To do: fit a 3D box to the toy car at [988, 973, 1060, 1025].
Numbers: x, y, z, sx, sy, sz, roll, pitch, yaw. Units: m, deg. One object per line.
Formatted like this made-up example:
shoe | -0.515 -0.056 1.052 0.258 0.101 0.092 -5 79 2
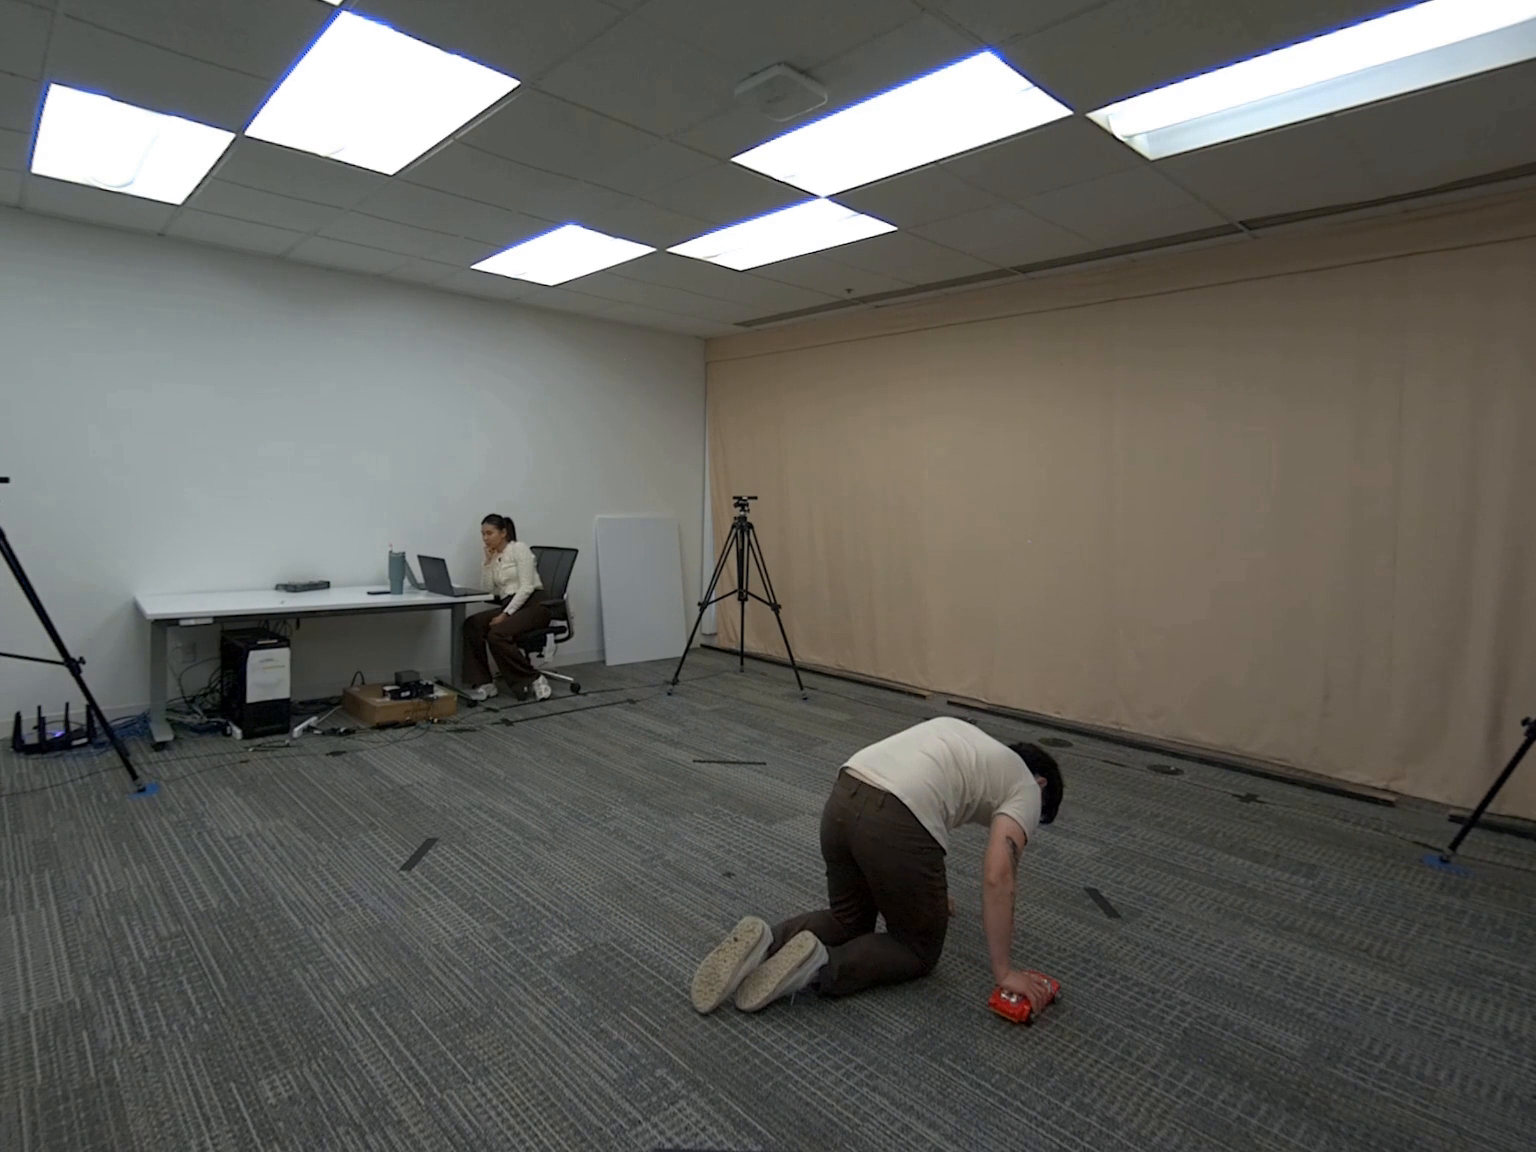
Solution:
toy car | 0.702 1.168 2.329 0.248 0.083 0.134 8 1 -43
